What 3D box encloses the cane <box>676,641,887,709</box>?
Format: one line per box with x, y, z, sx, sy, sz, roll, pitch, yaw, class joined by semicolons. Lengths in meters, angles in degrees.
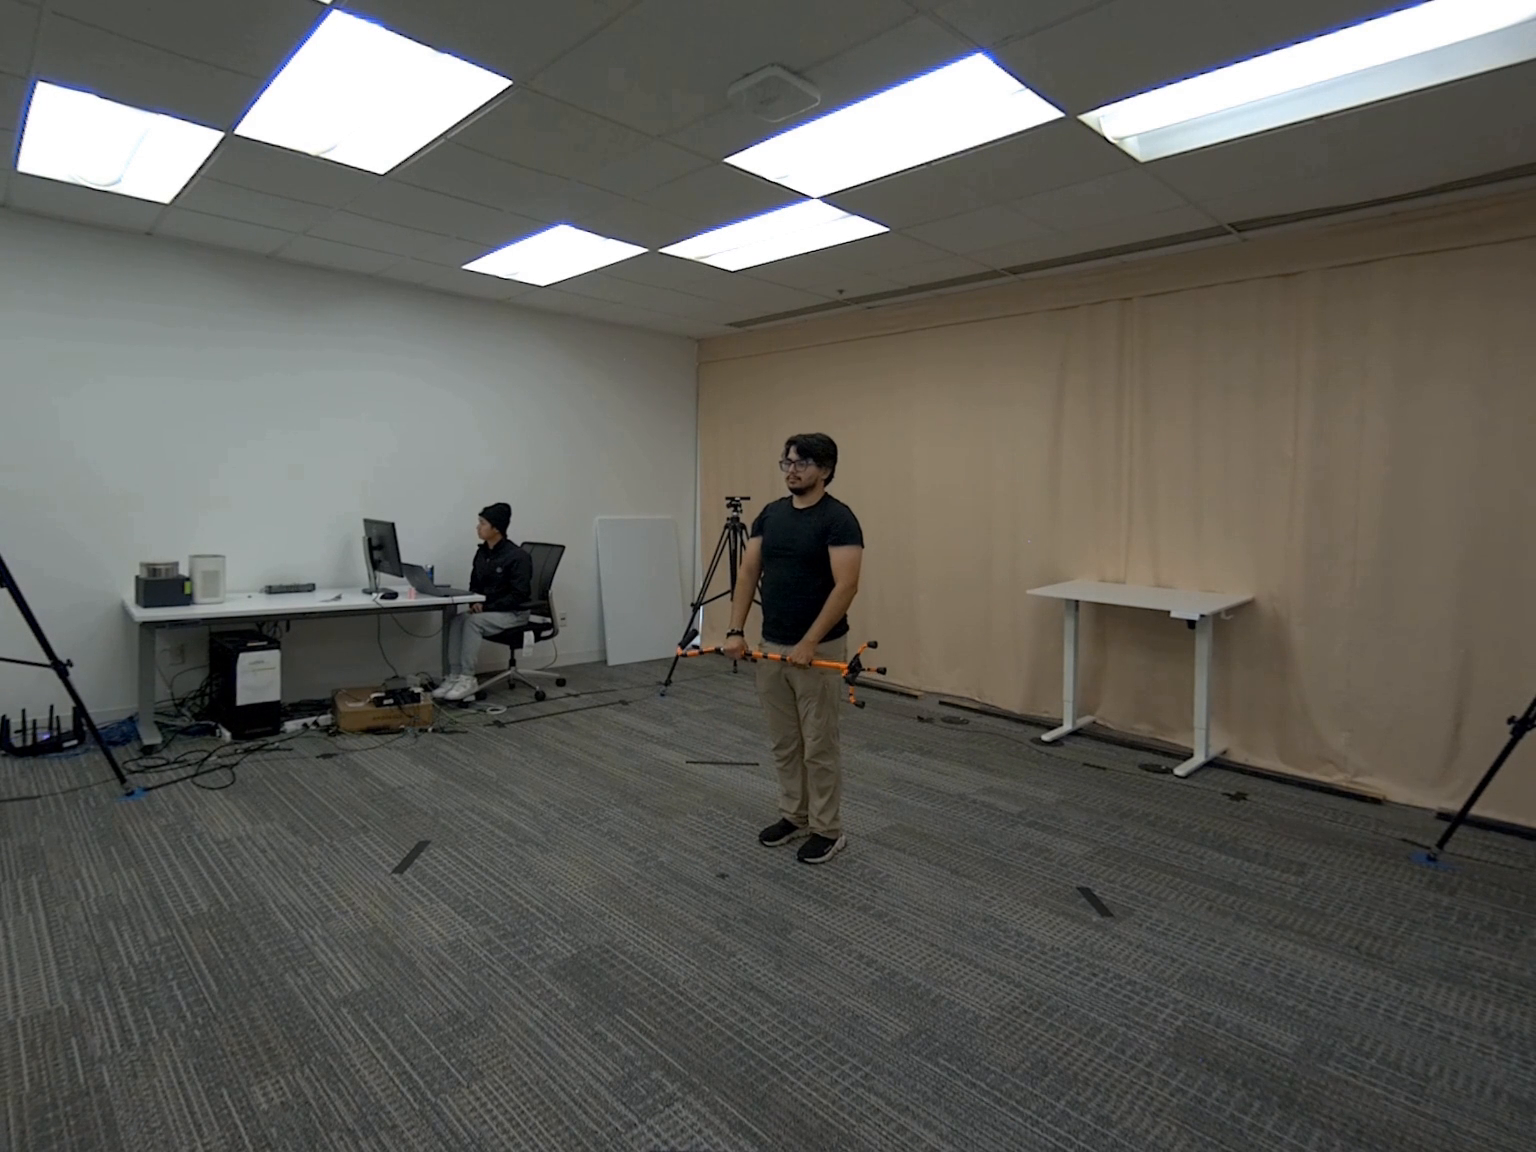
-0.016;0.328;3.227;0.930;0.148;0.206;4;36;40;cane
